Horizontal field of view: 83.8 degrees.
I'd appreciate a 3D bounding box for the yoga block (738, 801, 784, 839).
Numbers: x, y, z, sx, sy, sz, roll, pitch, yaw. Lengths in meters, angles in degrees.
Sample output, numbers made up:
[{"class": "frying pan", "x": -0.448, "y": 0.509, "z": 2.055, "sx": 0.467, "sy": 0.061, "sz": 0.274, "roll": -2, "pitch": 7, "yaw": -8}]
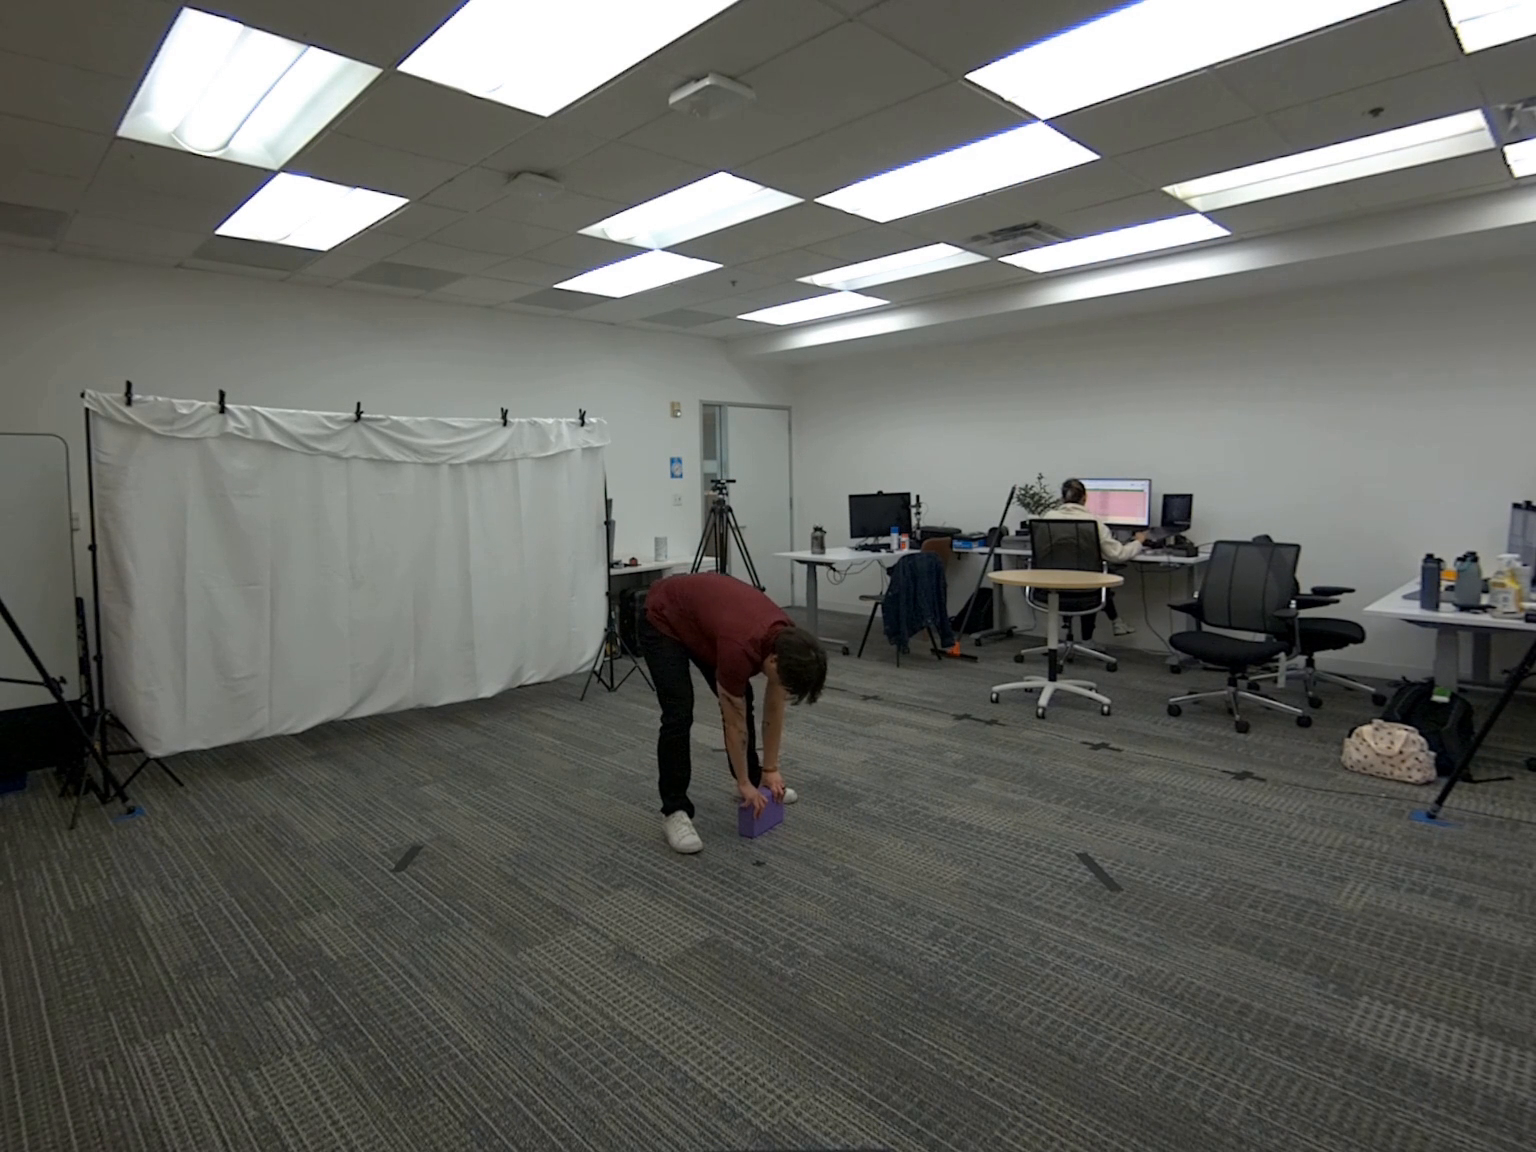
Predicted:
[{"class": "yoga block", "x": -0.036, "y": 0.940, "z": 3.435, "sx": 0.078, "sy": 0.149, "sz": 0.224, "roll": -4, "pitch": 2, "yaw": 33}]
